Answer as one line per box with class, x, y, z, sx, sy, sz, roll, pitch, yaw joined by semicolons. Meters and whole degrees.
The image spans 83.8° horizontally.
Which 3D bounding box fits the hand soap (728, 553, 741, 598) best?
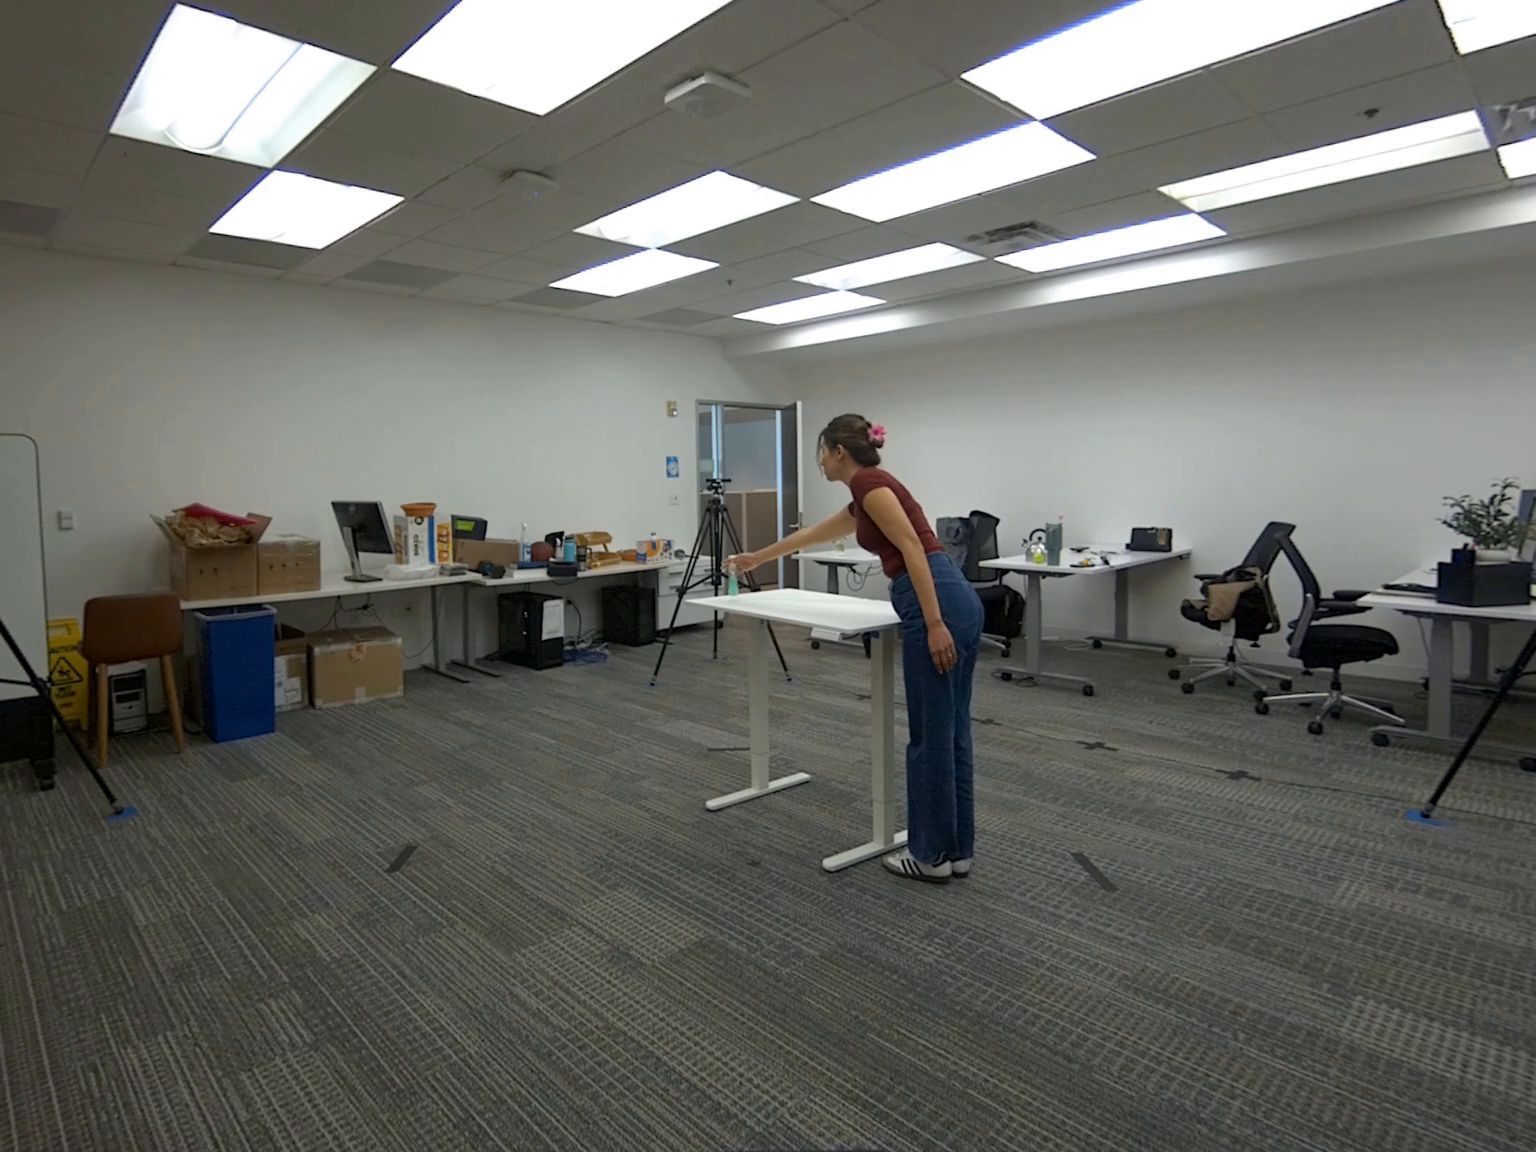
hand soap;-0.143;-0.004;3.608;0.043;0.166;0.085;3;12;0
